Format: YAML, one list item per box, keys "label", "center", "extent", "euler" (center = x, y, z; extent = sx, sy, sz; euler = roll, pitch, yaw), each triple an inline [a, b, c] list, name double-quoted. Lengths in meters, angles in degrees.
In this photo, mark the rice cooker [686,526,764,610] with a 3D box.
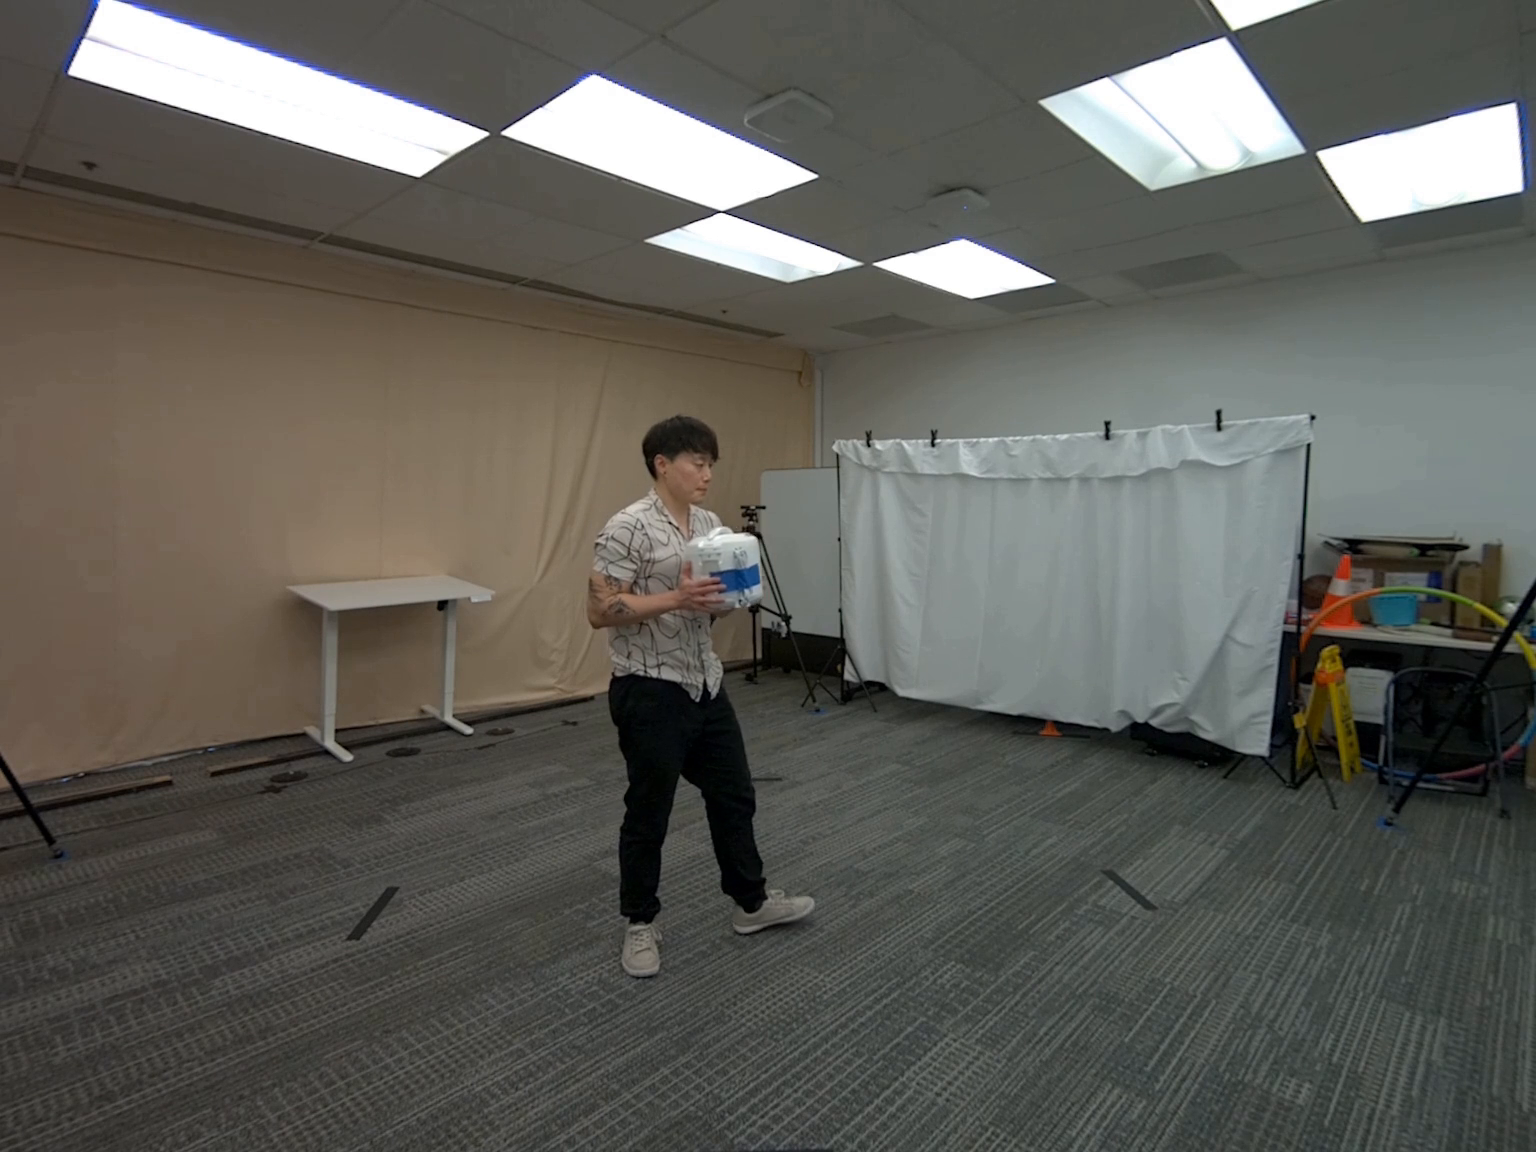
- label: "rice cooker"
  center: [-0.128, -0.027, 2.412]
  extent: [0.222, 0.232, 0.216]
  euler: [-4, 1, 19]
